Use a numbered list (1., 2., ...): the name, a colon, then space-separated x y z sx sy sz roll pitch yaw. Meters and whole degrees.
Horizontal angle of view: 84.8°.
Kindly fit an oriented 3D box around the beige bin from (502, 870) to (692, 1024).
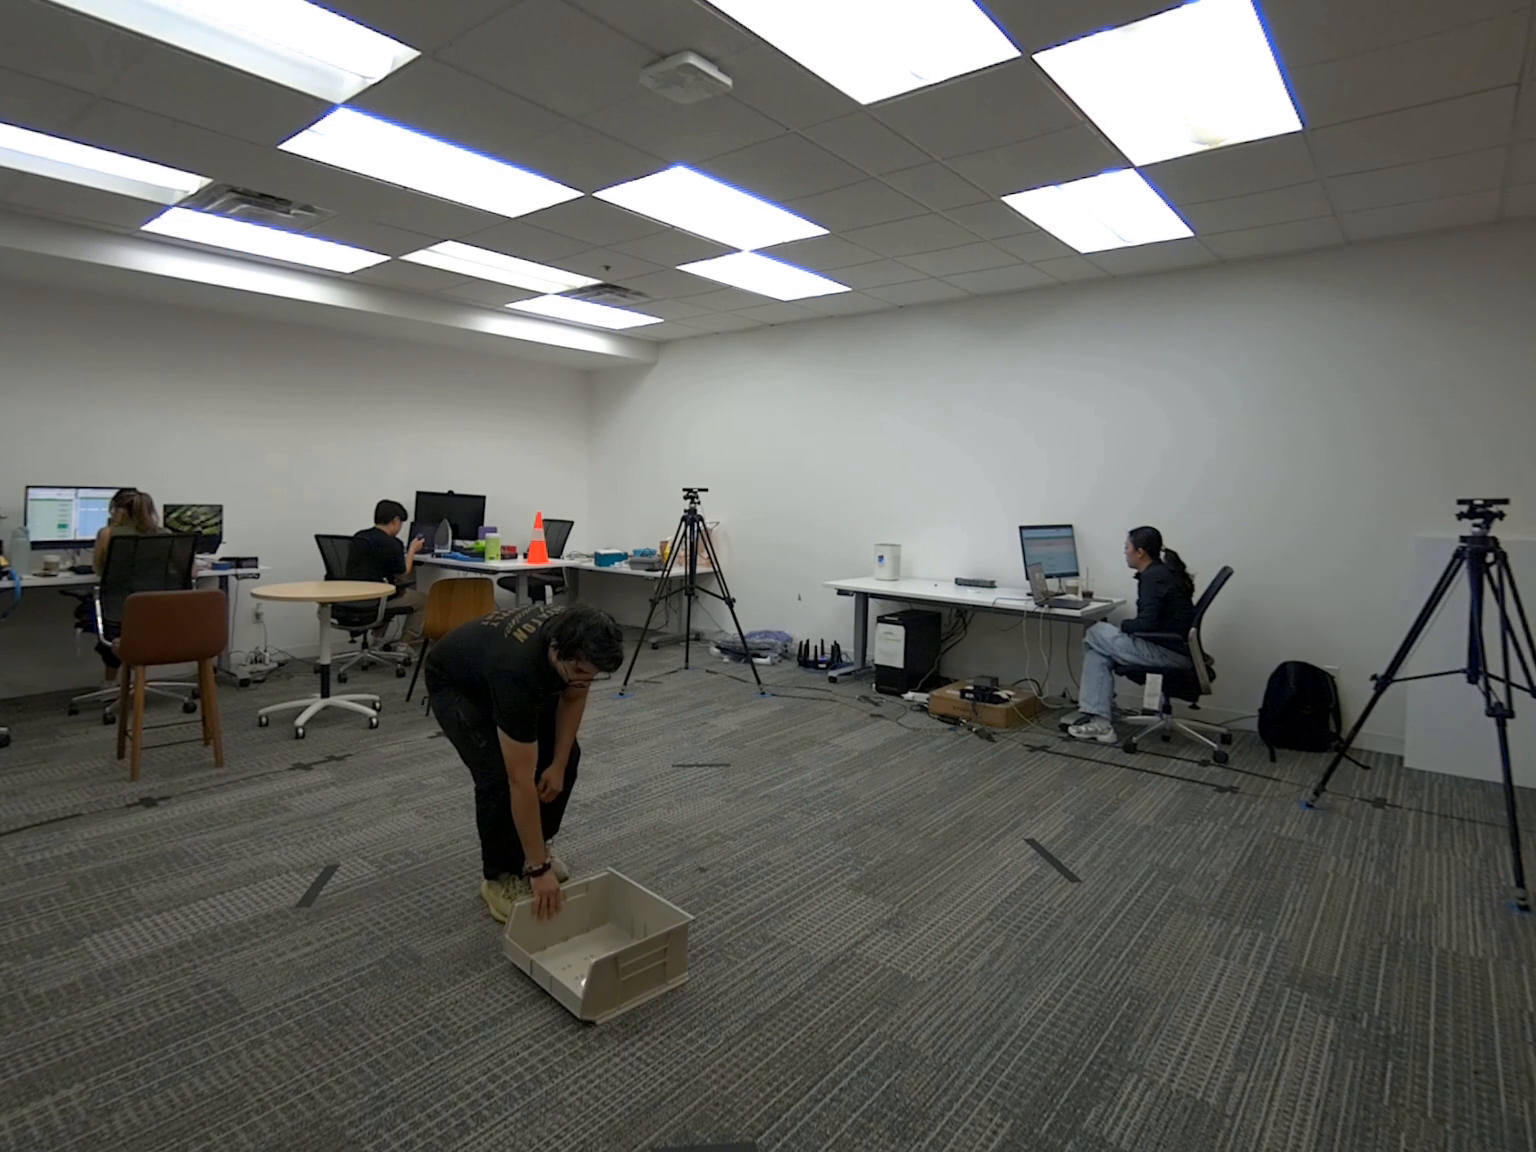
1. beige bin: -0.493 1.045 2.423 0.366 0.188 0.437 -3 5 -44
